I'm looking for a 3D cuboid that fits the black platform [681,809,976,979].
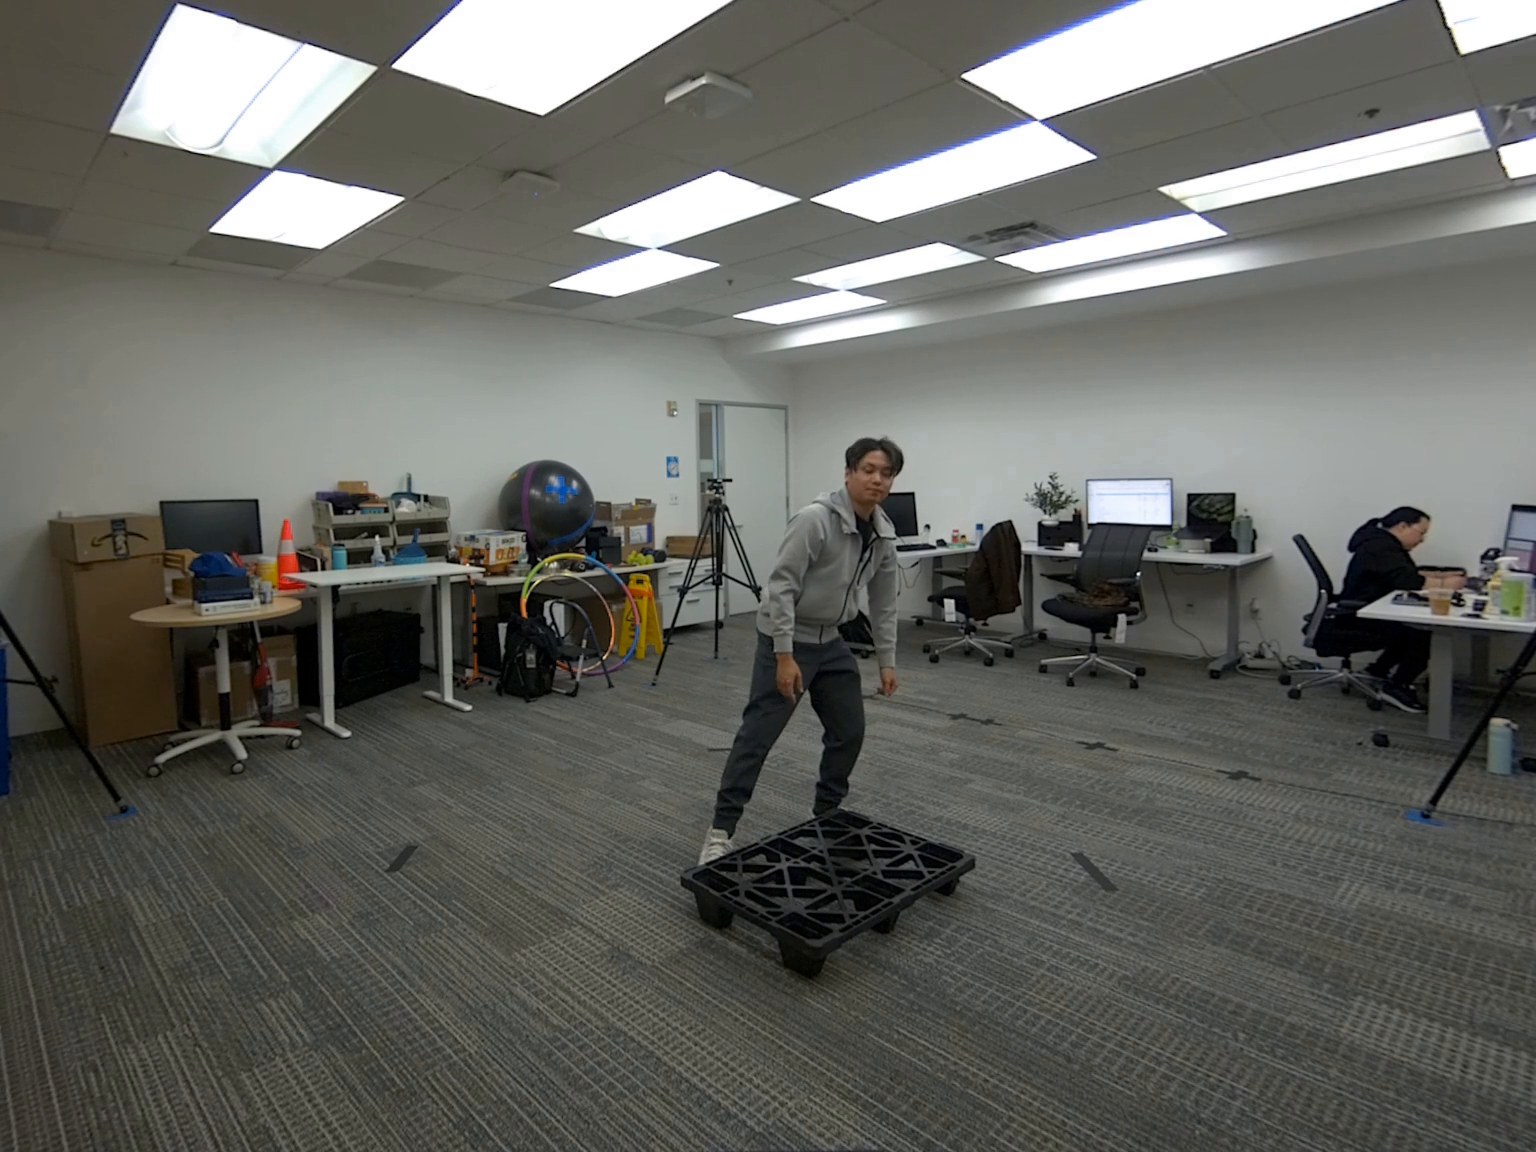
[{"bbox_3d":[0.199,1.012,2.794,0.784,0.143,0.624,-7,8,-43],"label":"black platform"}]
